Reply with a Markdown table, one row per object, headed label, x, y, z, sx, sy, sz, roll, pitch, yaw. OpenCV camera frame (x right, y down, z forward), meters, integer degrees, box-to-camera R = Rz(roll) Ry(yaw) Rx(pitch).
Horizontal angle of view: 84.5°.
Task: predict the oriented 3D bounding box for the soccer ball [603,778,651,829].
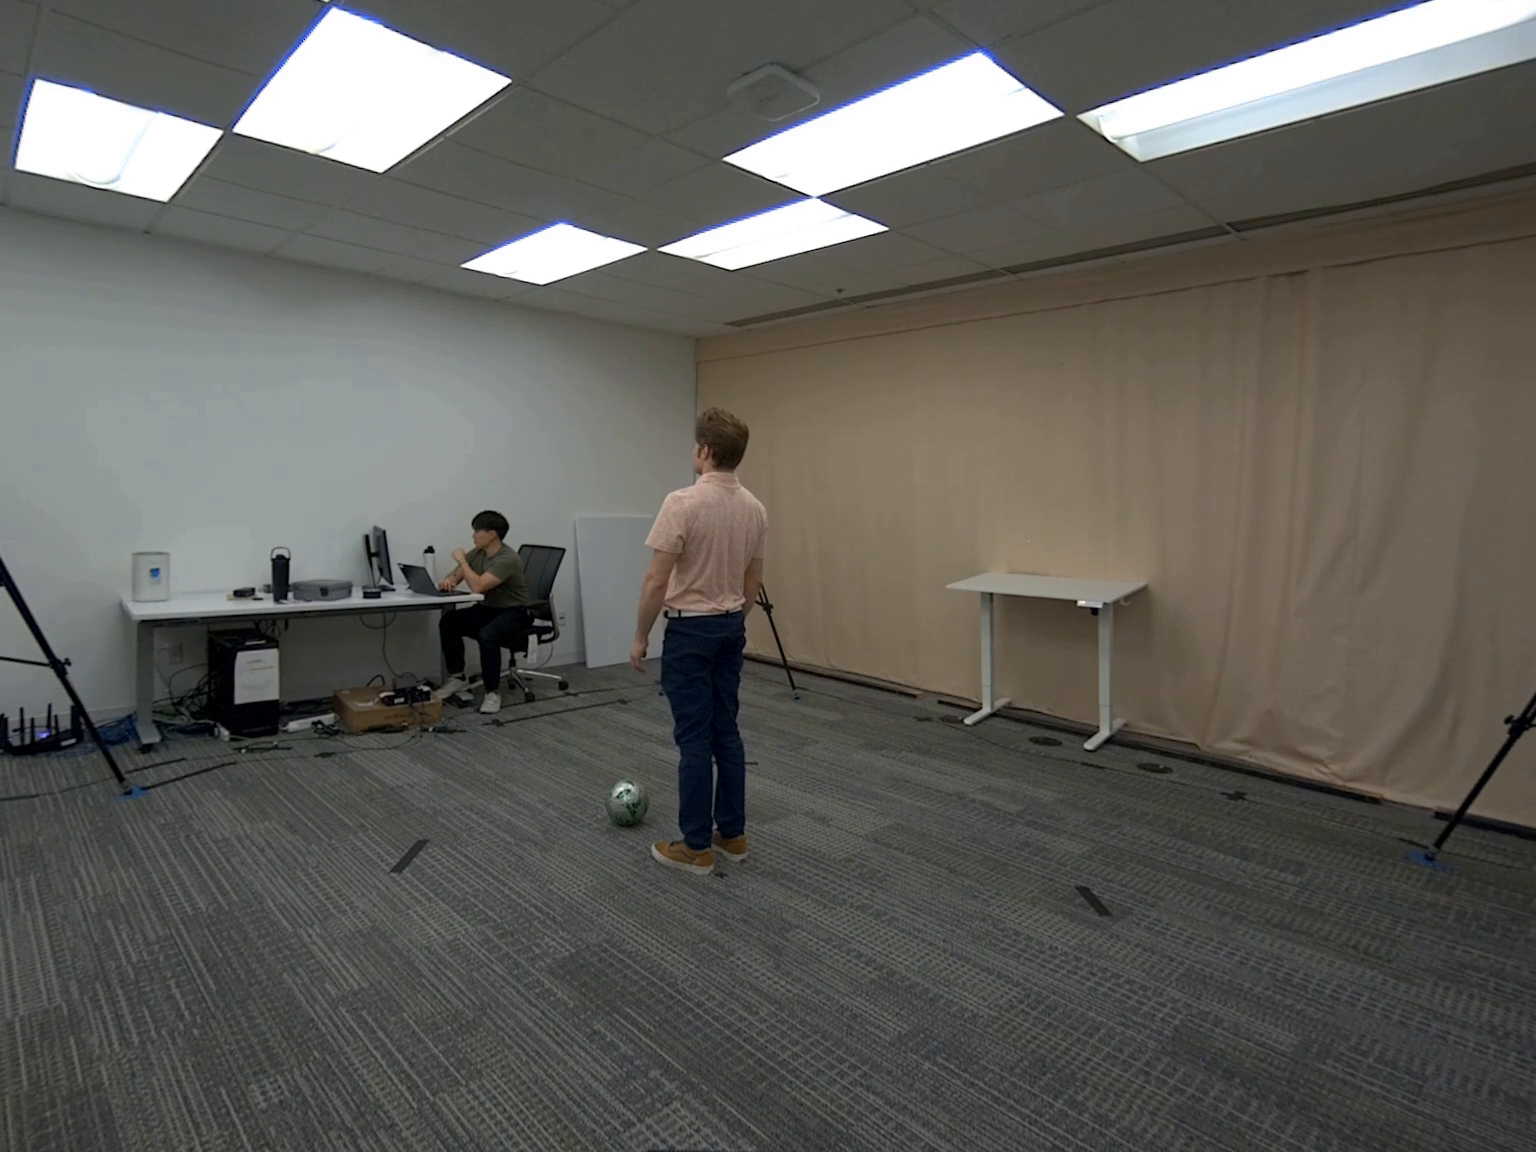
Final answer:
| label | x | y | z | sx | sy | sz | roll | pitch | yaw |
| --- | --- | --- | --- | --- | --- | --- | --- | --- | --- |
| soccer ball | -0.603 | 0.965 | 3.566 | 0.187 | 0.187 | 0.188 | 1 | 4 | -1 |
